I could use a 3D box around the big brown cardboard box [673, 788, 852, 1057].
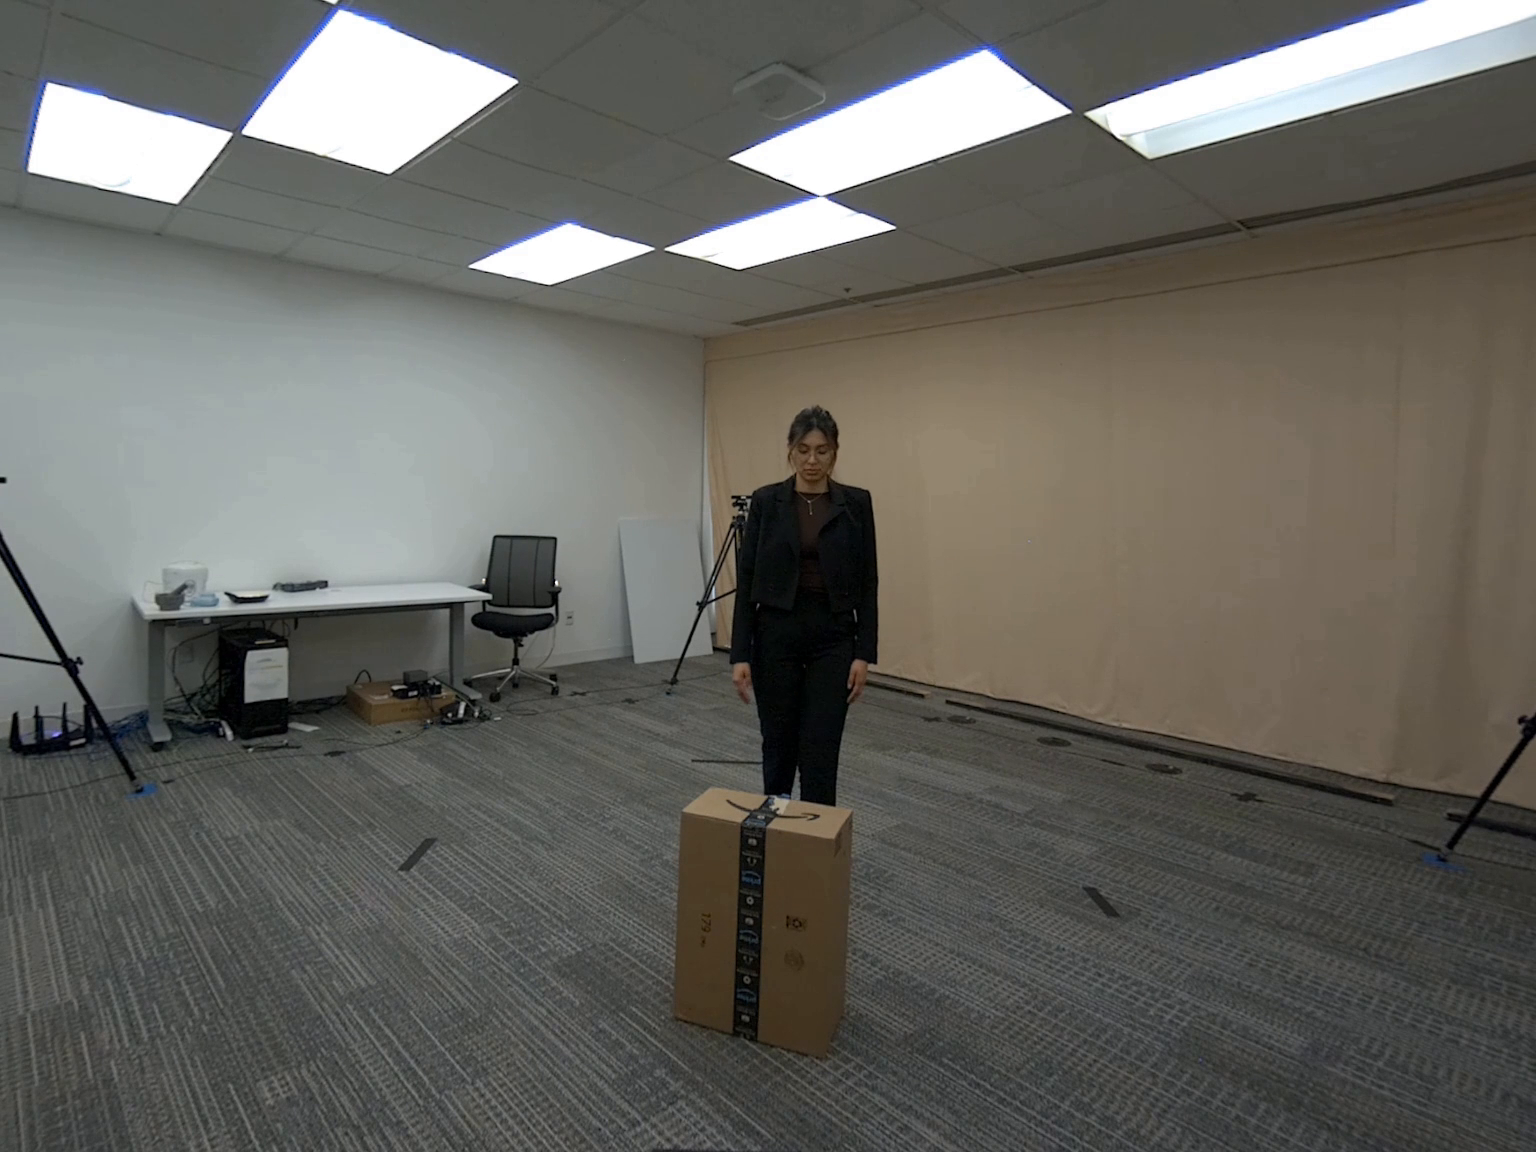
[{"bbox_3d":[-0.013,0.909,2.241,0.424,0.587,0.230,4,5,20],"label":"big brown cardboard box"}]
